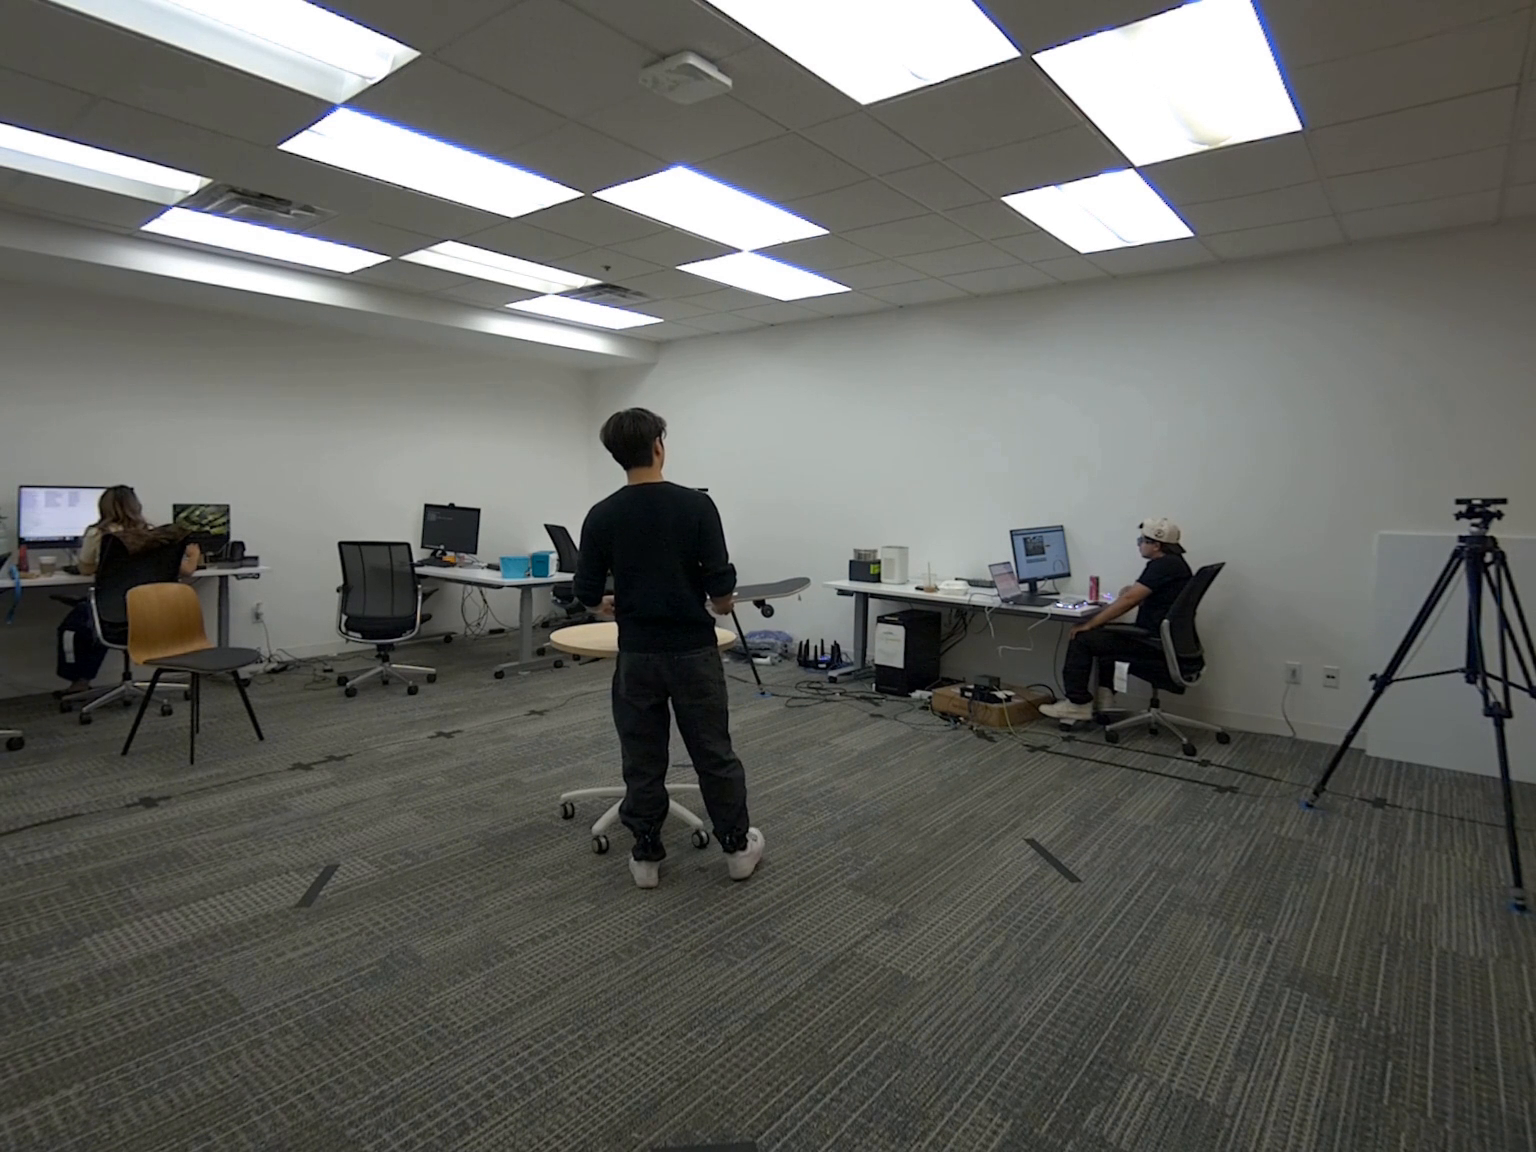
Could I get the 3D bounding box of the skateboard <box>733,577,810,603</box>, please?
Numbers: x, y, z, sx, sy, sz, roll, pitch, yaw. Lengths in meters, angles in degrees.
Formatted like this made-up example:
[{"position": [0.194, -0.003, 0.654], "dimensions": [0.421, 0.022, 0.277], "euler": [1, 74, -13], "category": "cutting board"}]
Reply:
[{"position": [-0.225, 0.120, 3.300], "dimensions": [0.779, 0.109, 0.198], "euler": [-8, 13, -9], "category": "skateboard"}]
